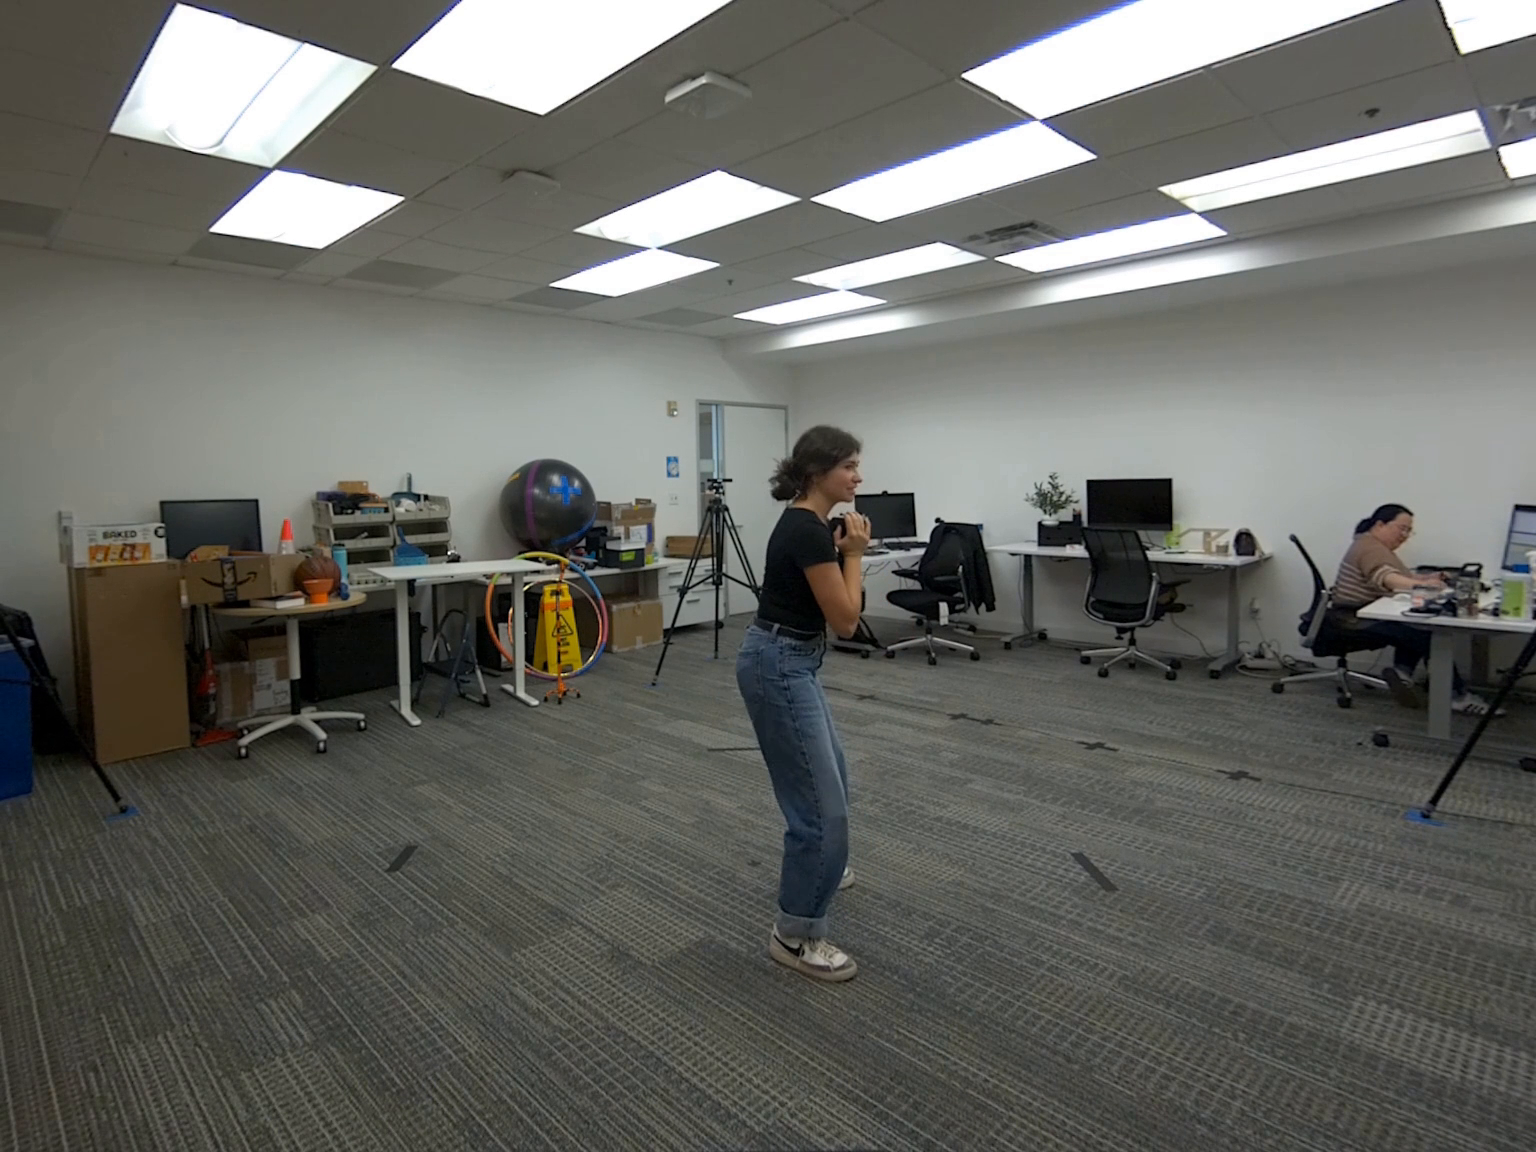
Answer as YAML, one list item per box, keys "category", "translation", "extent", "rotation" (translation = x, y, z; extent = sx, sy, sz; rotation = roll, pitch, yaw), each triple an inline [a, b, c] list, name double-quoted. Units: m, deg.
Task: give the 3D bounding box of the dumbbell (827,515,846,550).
- category: "dumbbell"
  translation: [0.226, -0.022, 2.591]
  extent: [0.127, 0.292, 0.106]
  rotation: [7, 5, 35]
